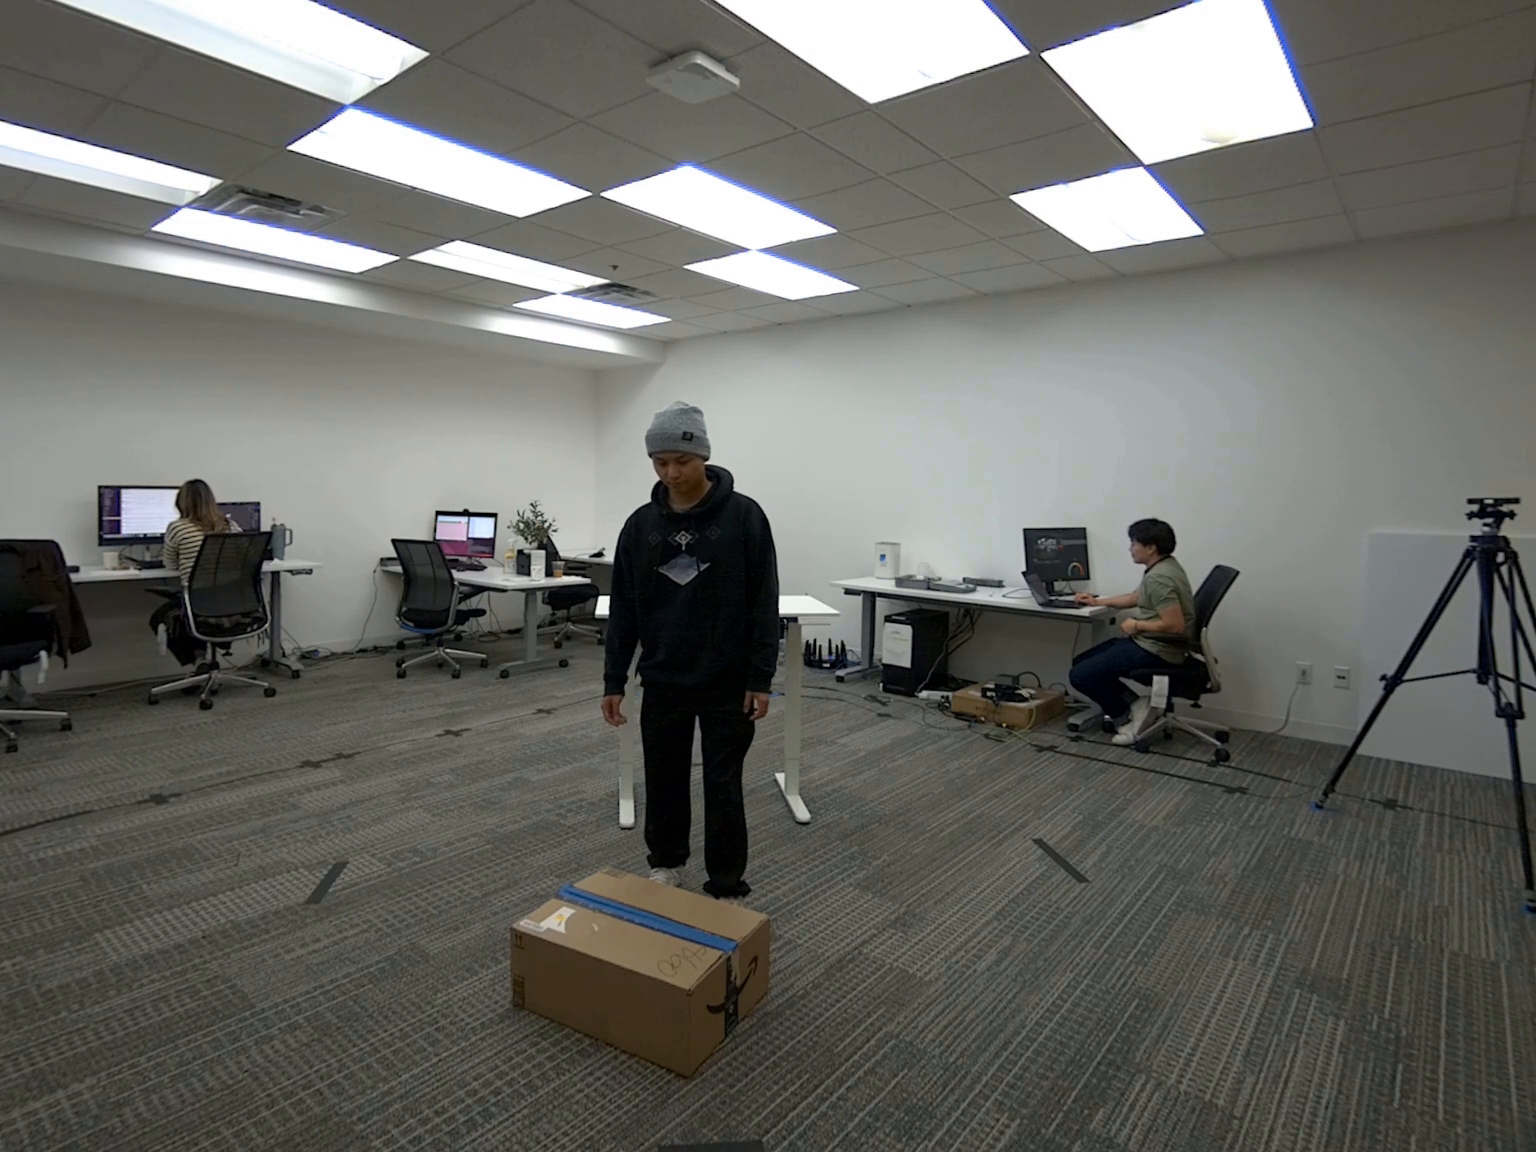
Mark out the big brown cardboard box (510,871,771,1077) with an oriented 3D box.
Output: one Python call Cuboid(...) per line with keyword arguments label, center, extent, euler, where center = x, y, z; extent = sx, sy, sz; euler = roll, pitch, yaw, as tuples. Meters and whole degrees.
Cuboid(label="big brown cardboard box", center=(-0.353, 1.033, 2.309), extent=(0.606, 0.232, 0.408), euler=(5, 7, 28))
